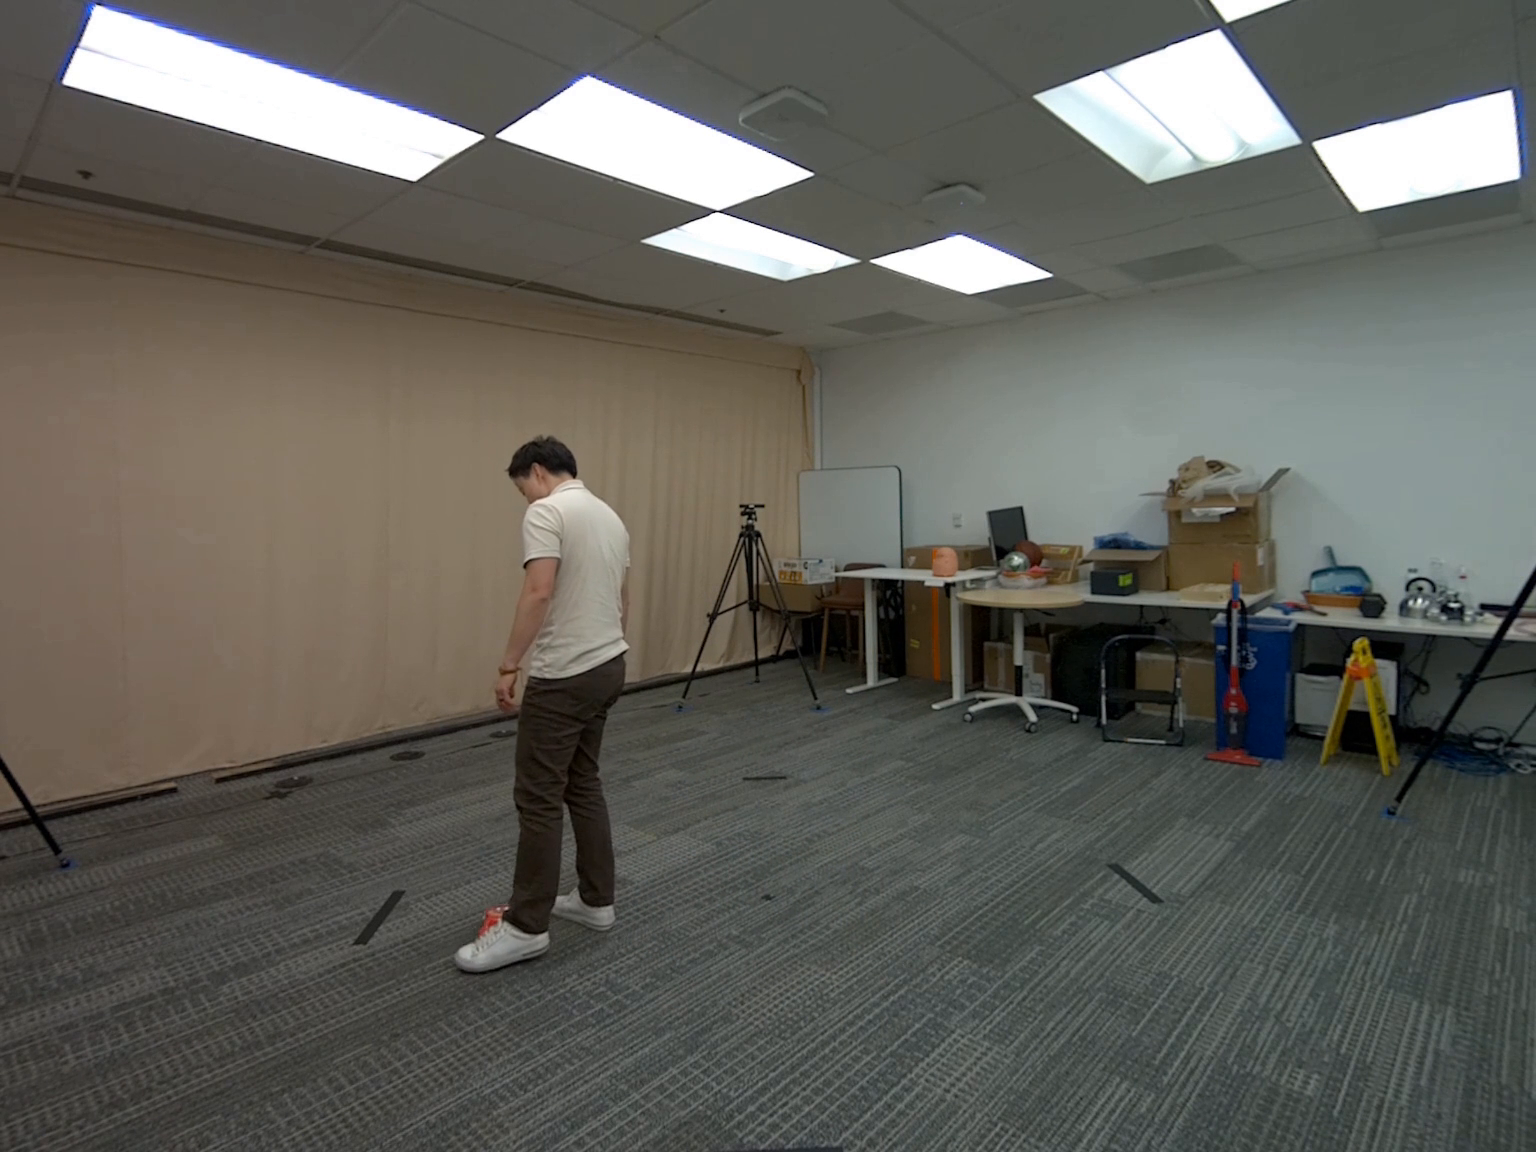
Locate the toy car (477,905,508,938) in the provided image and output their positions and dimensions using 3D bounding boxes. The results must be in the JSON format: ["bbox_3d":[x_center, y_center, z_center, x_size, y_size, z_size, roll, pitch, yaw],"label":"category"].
[{"bbox_3d":[-0.880,1.152,2.742,0.129,0.083,0.256,-2,-6,-10],"label":"toy car"}]
